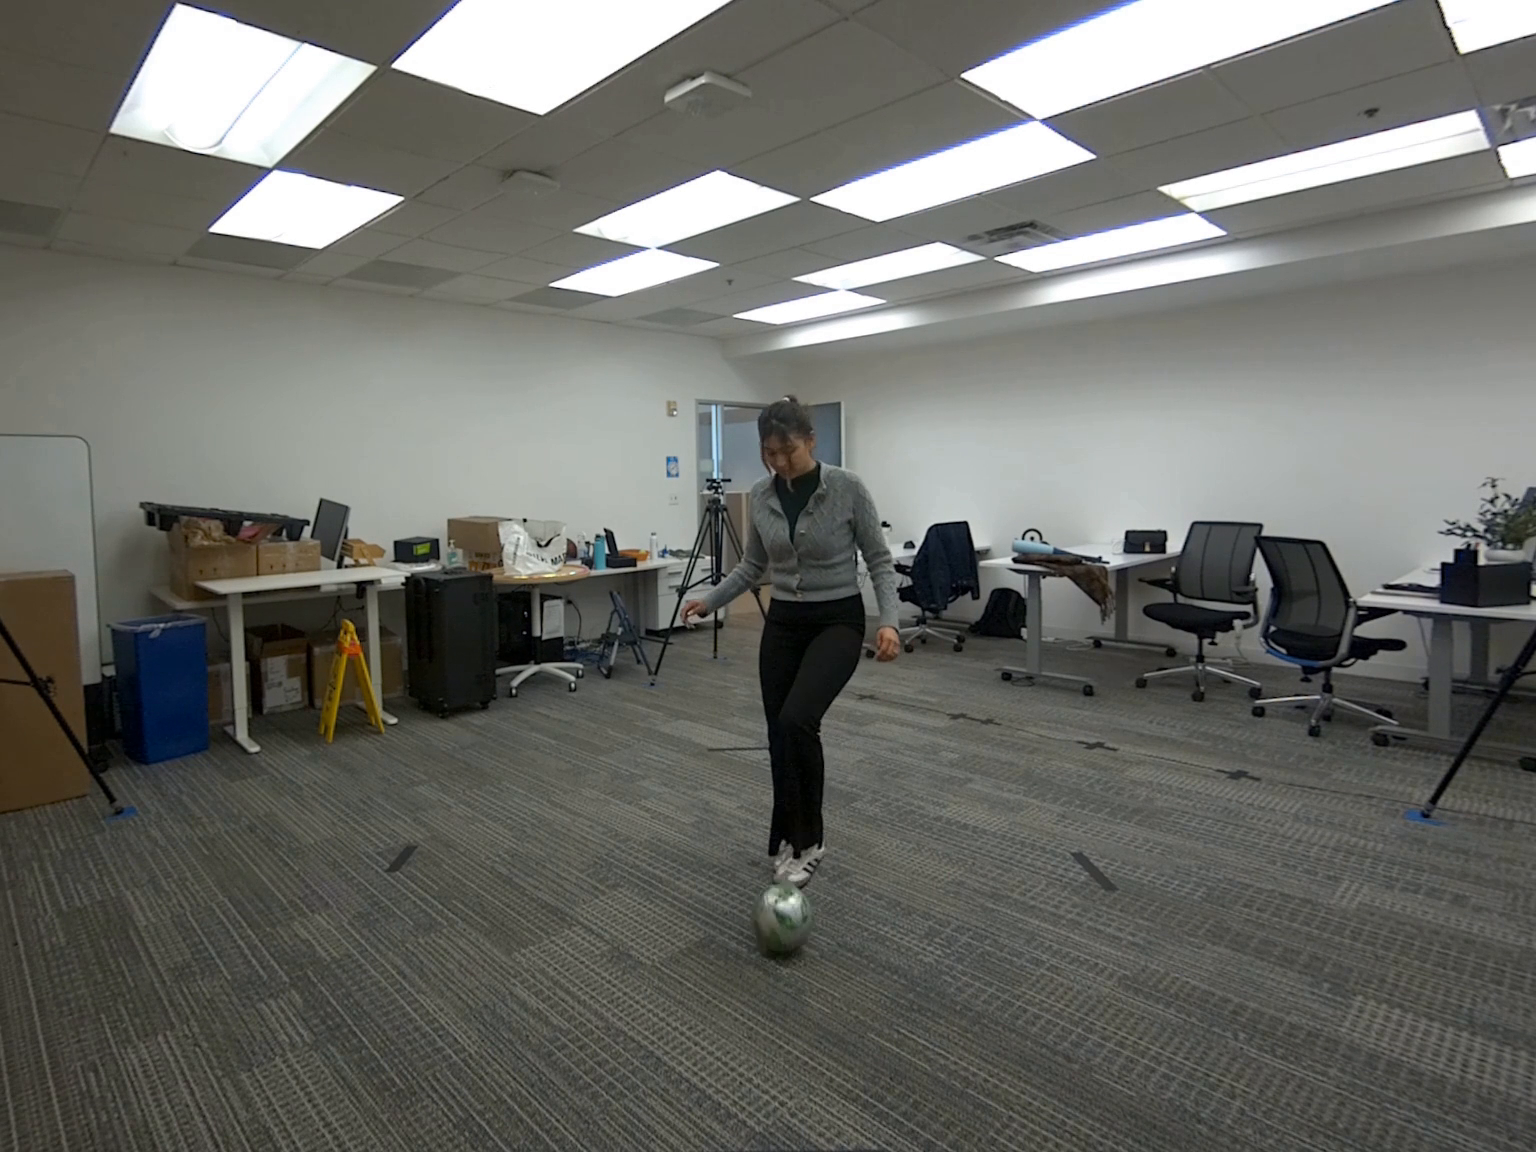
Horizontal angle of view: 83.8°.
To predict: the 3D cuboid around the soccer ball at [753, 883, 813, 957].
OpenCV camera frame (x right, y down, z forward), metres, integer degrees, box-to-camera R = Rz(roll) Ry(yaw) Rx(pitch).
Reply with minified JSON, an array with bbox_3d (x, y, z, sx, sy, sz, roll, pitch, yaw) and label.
[{"bbox_3d":[0.054,1.020,2.535,0.187,0.187,0.188,-1,5,-2],"label":"soccer ball"}]
